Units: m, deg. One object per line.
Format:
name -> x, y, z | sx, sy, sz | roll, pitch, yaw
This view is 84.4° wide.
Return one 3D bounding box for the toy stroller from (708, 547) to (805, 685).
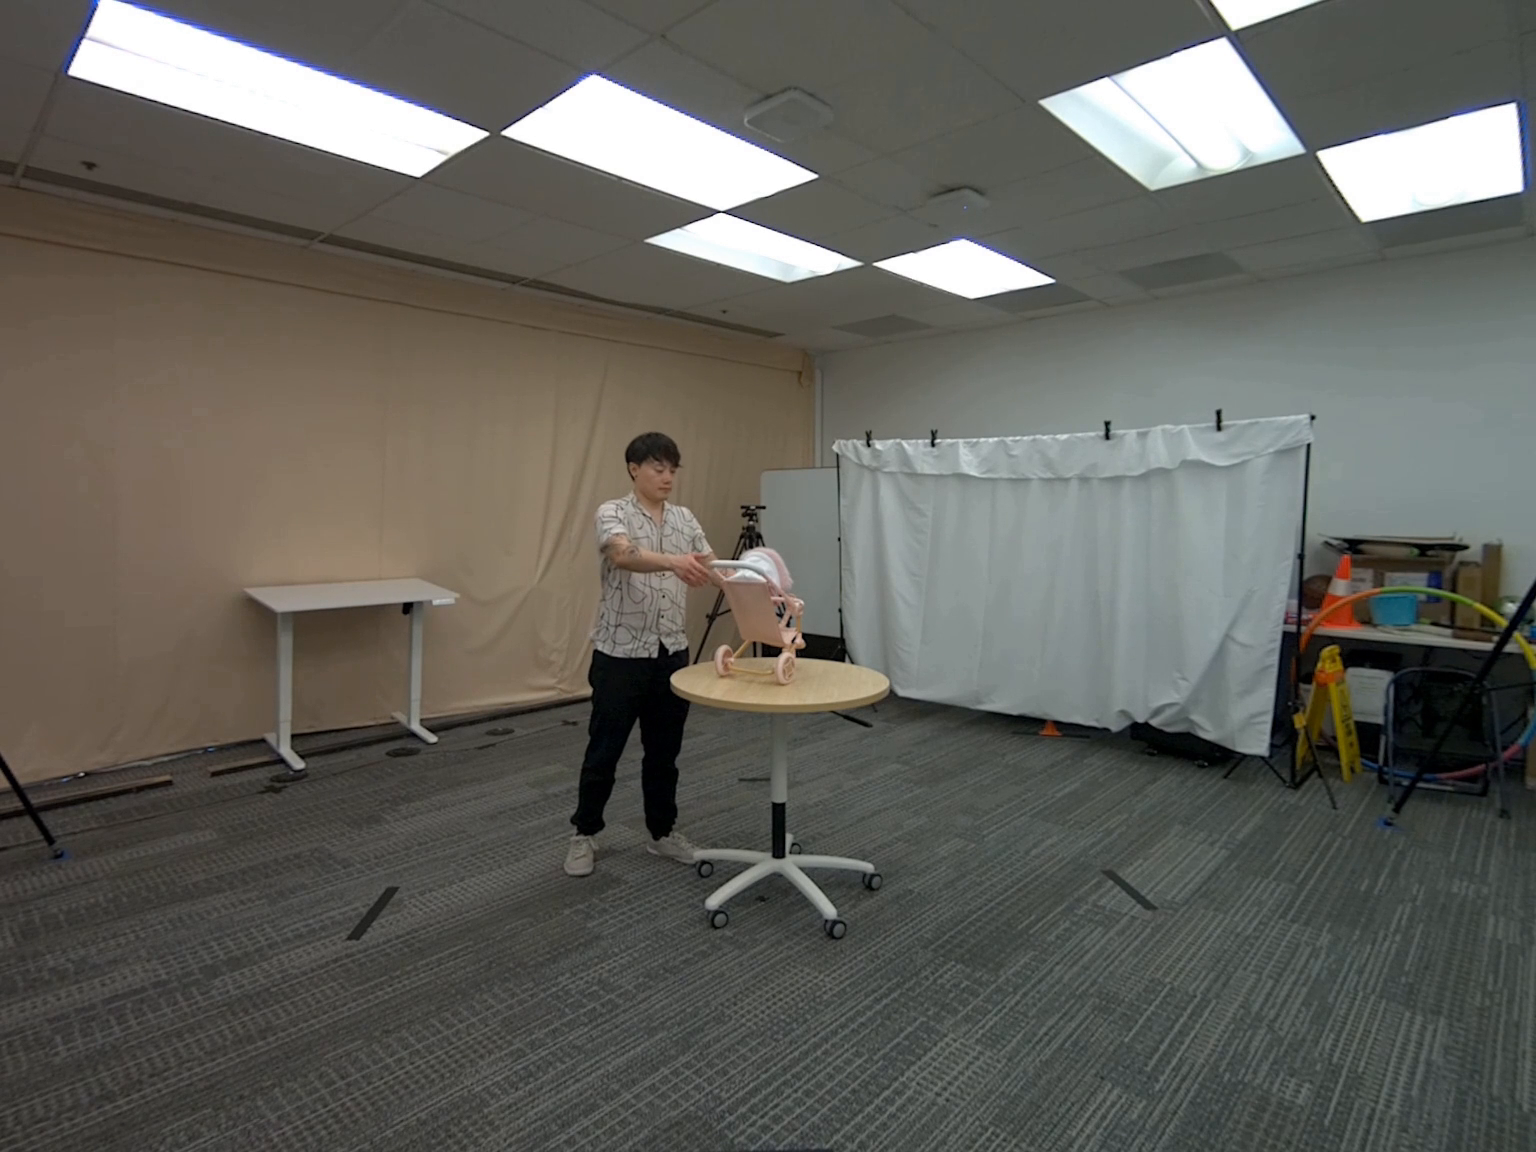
toy stroller -> -0.008, 0.136, 2.964 | 0.290, 0.528, 0.335 | 4, 21, 35
